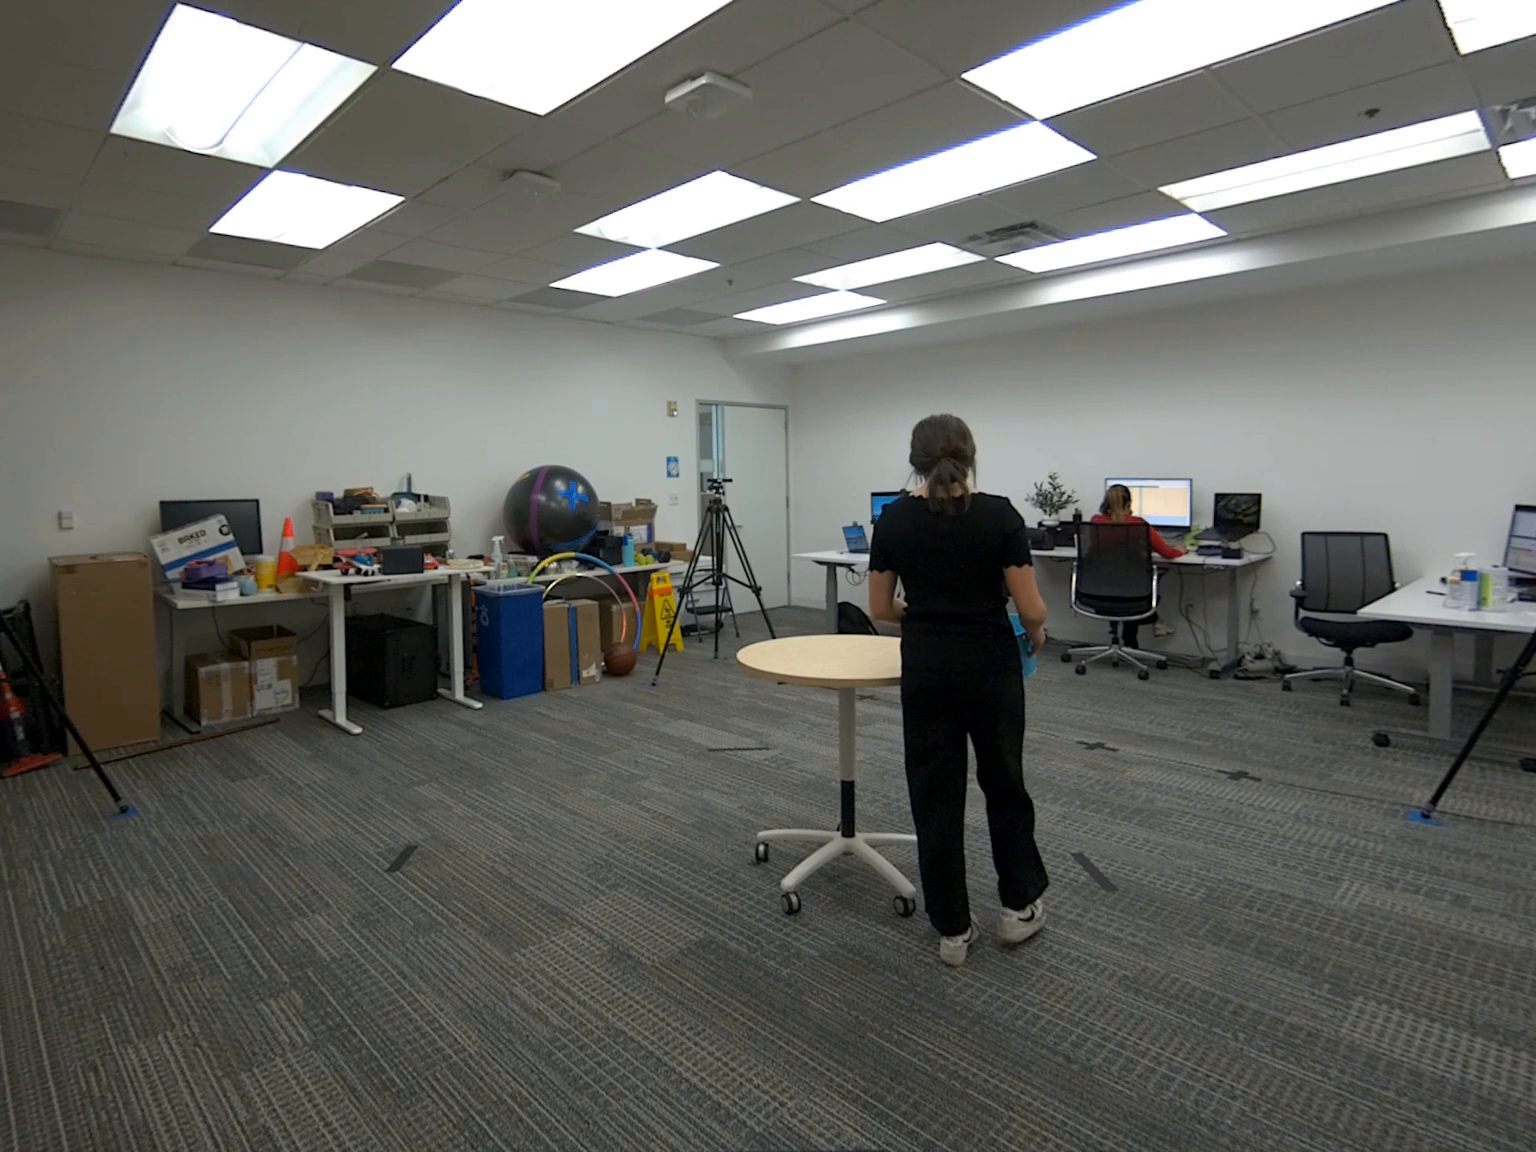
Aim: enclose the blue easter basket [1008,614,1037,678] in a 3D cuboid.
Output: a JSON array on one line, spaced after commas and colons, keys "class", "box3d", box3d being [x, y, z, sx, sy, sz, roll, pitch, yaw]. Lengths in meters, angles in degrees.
[{"class": "blue easter basket", "box3d": [0.769, 0.236, 2.677, 0.243, 0.154, 0.246, -7, 11, -1]}]
